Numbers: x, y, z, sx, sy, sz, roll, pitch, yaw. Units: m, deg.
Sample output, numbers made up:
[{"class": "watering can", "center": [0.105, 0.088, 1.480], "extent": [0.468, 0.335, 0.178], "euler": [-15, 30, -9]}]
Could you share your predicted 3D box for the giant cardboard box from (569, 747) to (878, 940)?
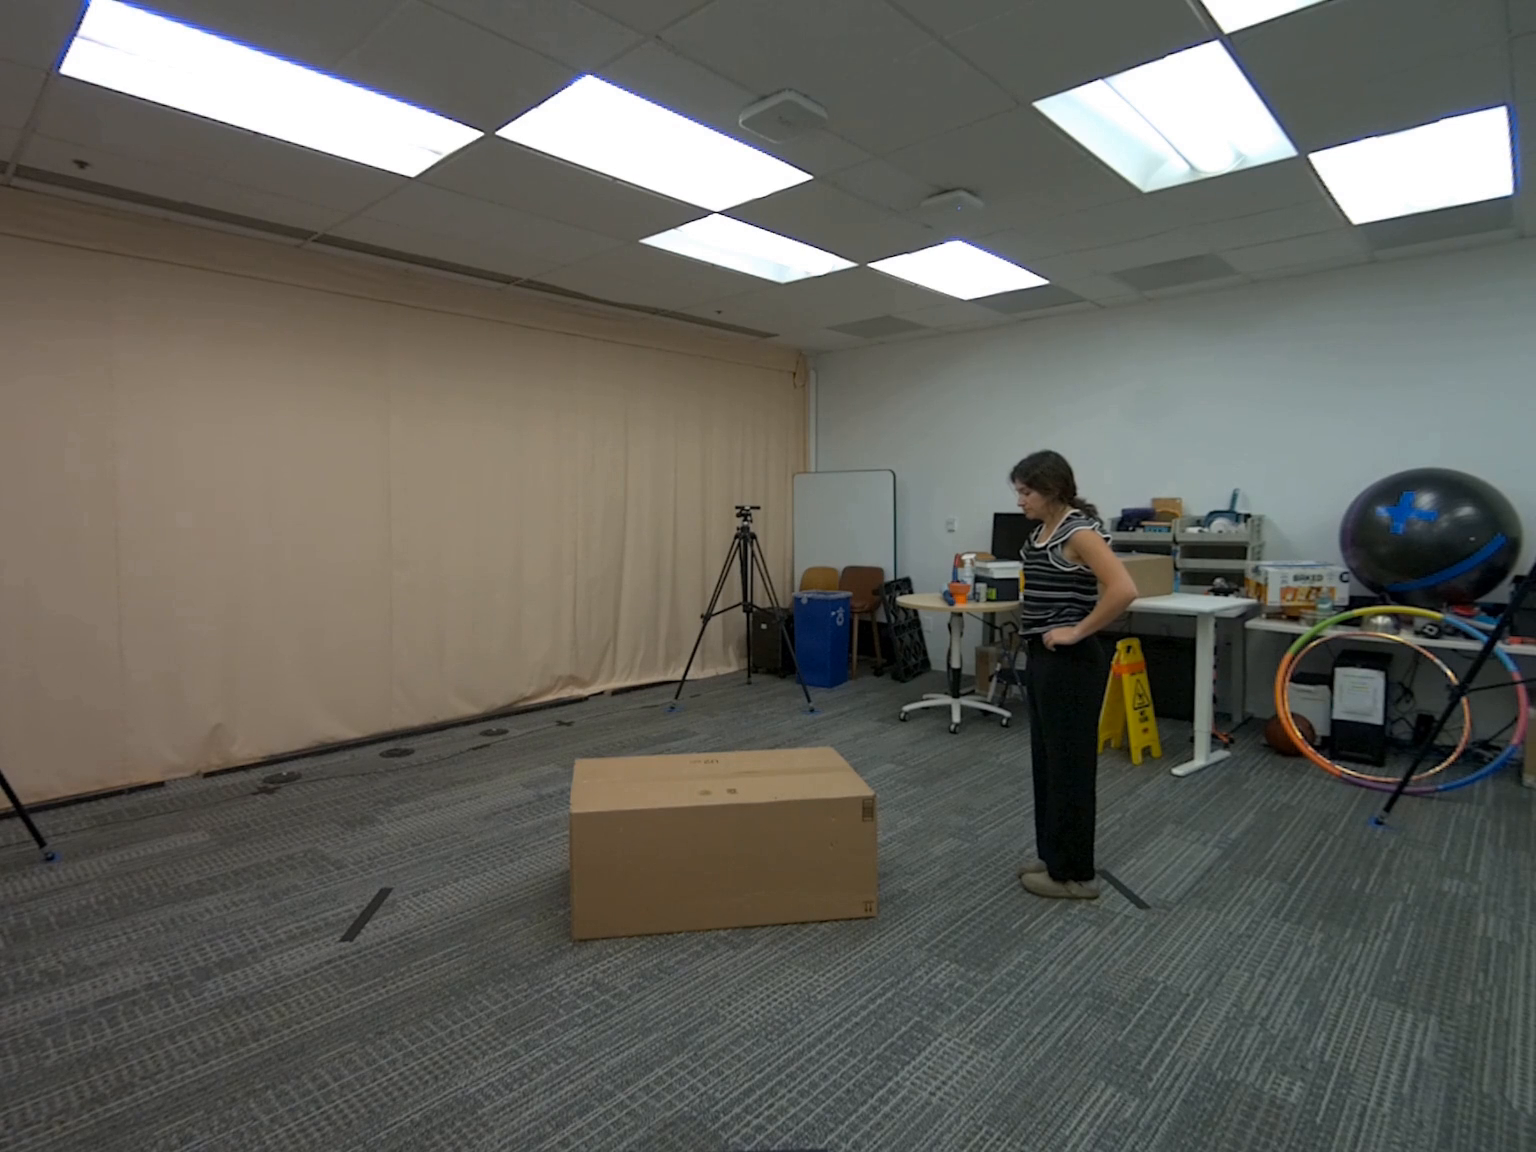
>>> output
[{"class": "giant cardboard box", "center": [-0.186, 0.929, 3.044], "extent": [1.017, 0.425, 0.584], "euler": [-1, 5, -9]}]
